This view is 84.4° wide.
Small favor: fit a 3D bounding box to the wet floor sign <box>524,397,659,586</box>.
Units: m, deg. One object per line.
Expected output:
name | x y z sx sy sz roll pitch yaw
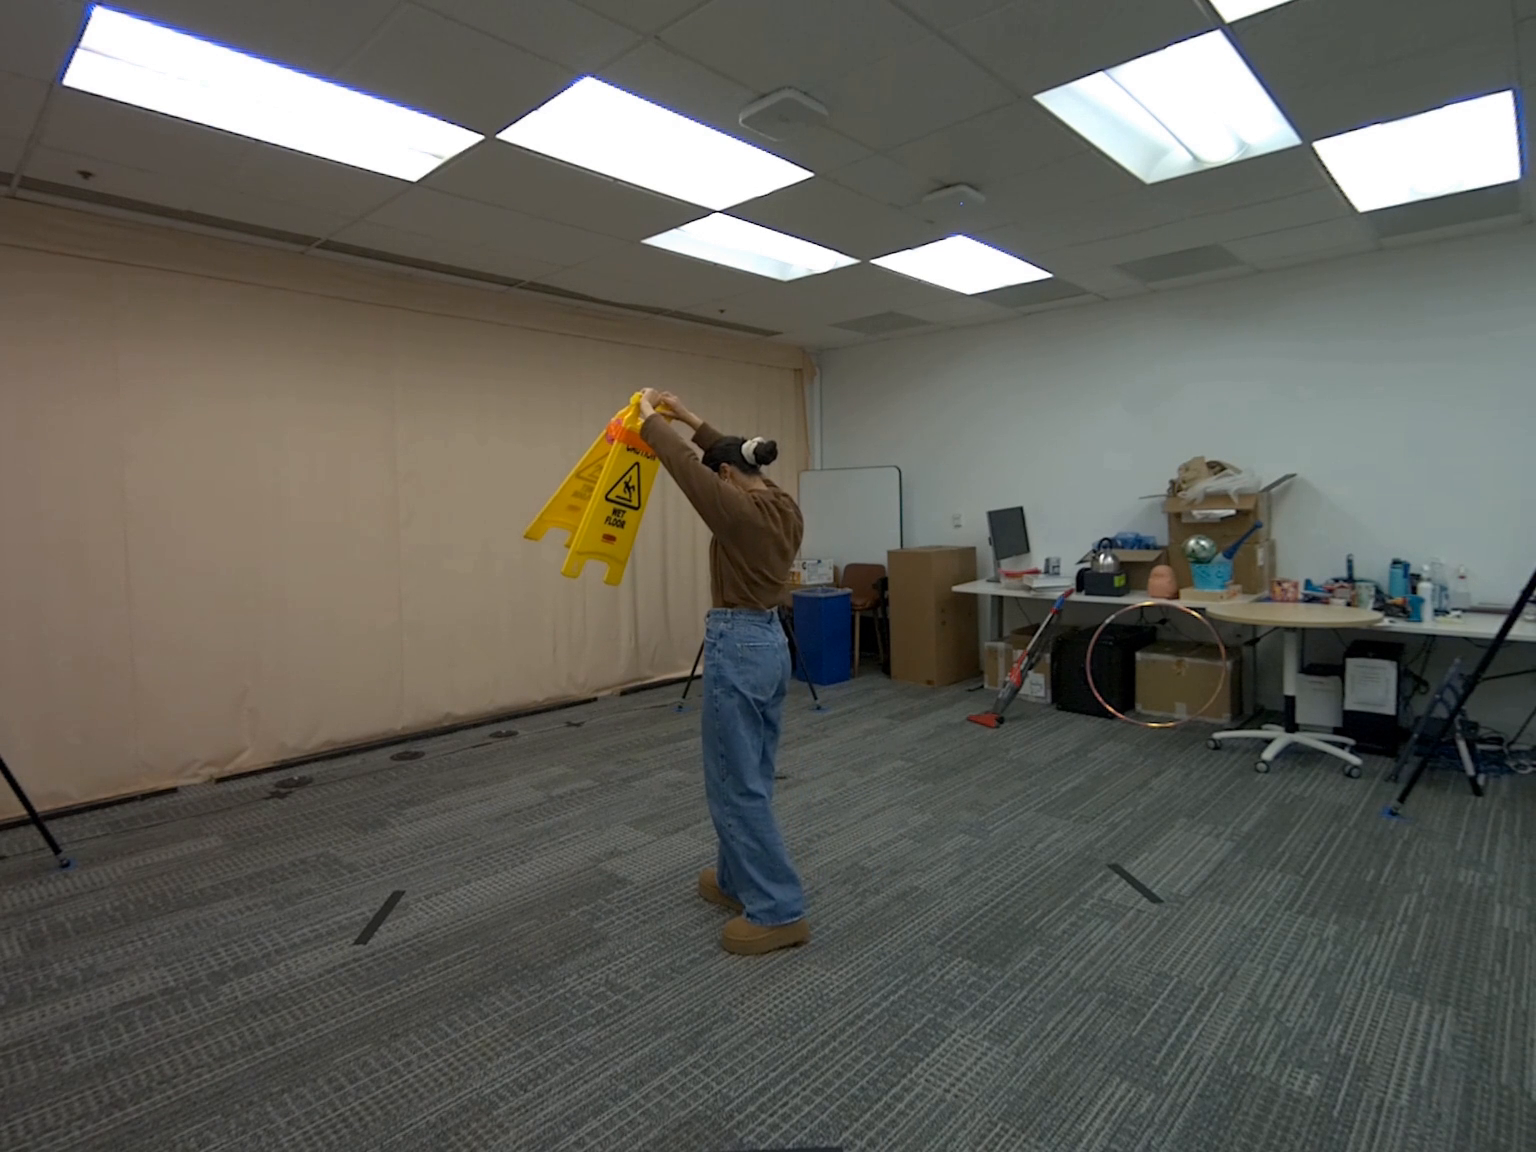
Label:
wet floor sign | -0.540 -0.325 2.933 0.300 0.646 0.273 36 12 34
